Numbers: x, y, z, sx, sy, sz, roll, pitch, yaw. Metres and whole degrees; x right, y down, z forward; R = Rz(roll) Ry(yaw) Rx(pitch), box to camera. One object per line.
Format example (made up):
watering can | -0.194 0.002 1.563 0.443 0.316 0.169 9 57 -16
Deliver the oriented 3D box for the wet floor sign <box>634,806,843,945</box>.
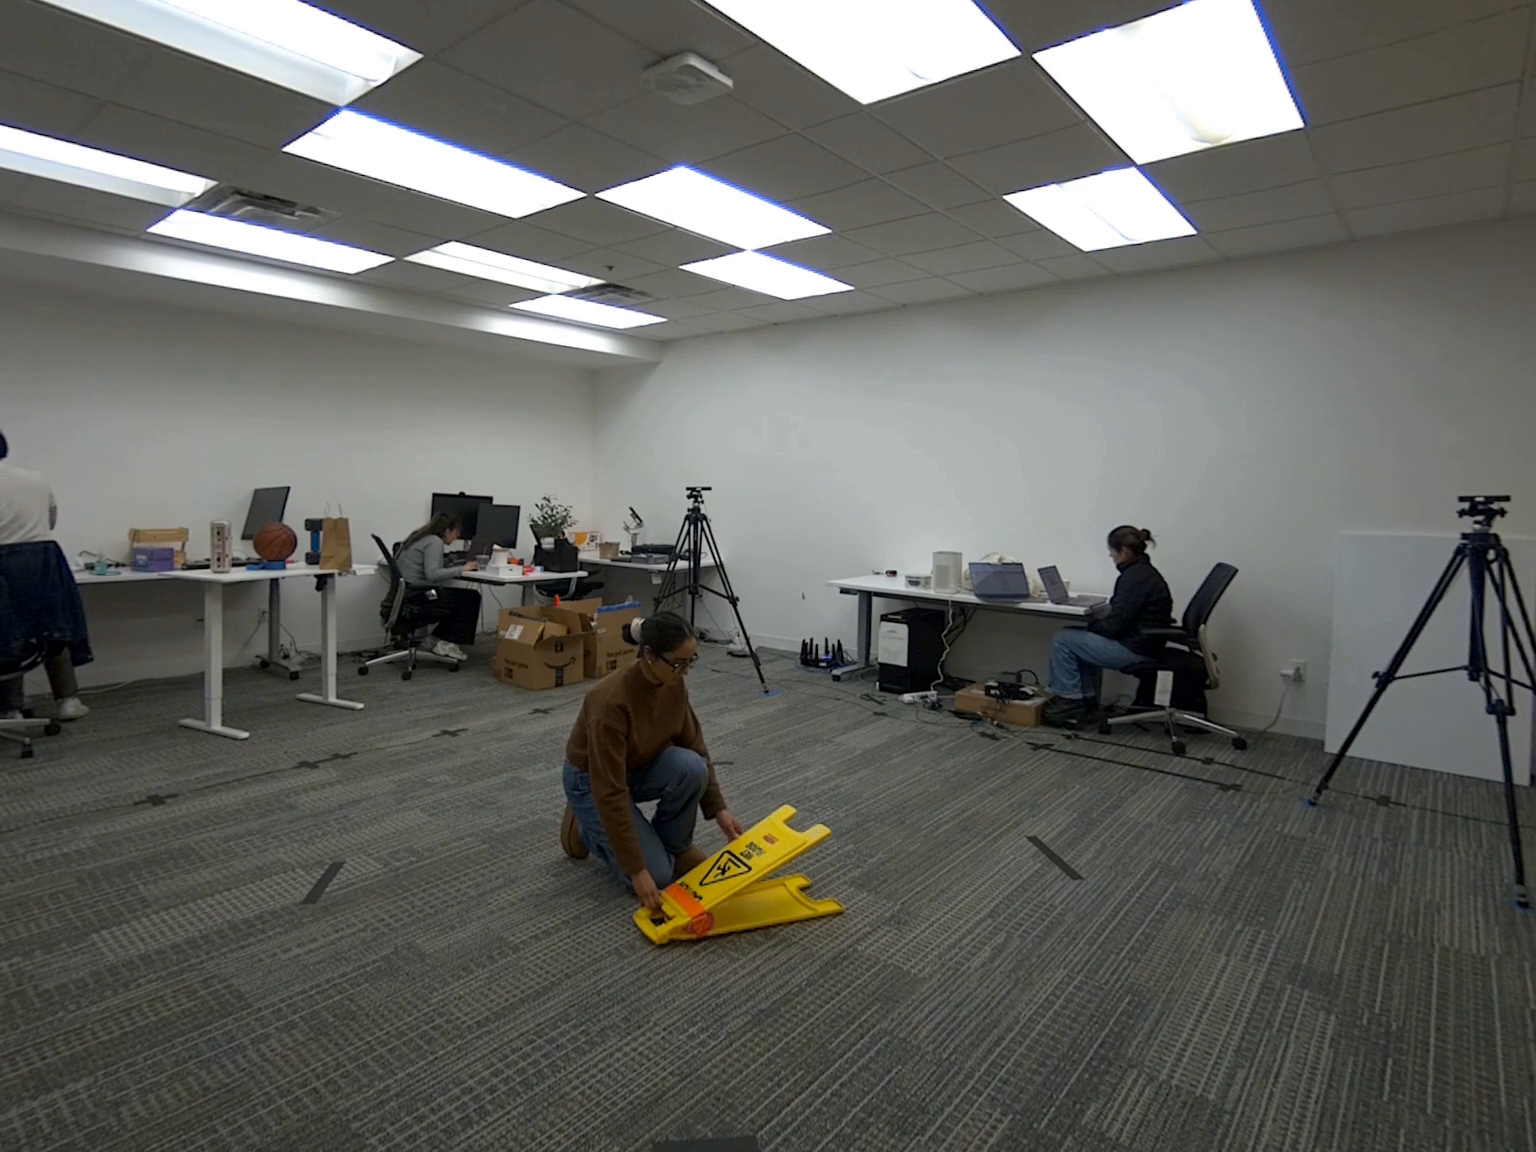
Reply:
wet floor sign | -0.119 1.022 2.769 0.634 0.288 0.290 -14 8 -26
